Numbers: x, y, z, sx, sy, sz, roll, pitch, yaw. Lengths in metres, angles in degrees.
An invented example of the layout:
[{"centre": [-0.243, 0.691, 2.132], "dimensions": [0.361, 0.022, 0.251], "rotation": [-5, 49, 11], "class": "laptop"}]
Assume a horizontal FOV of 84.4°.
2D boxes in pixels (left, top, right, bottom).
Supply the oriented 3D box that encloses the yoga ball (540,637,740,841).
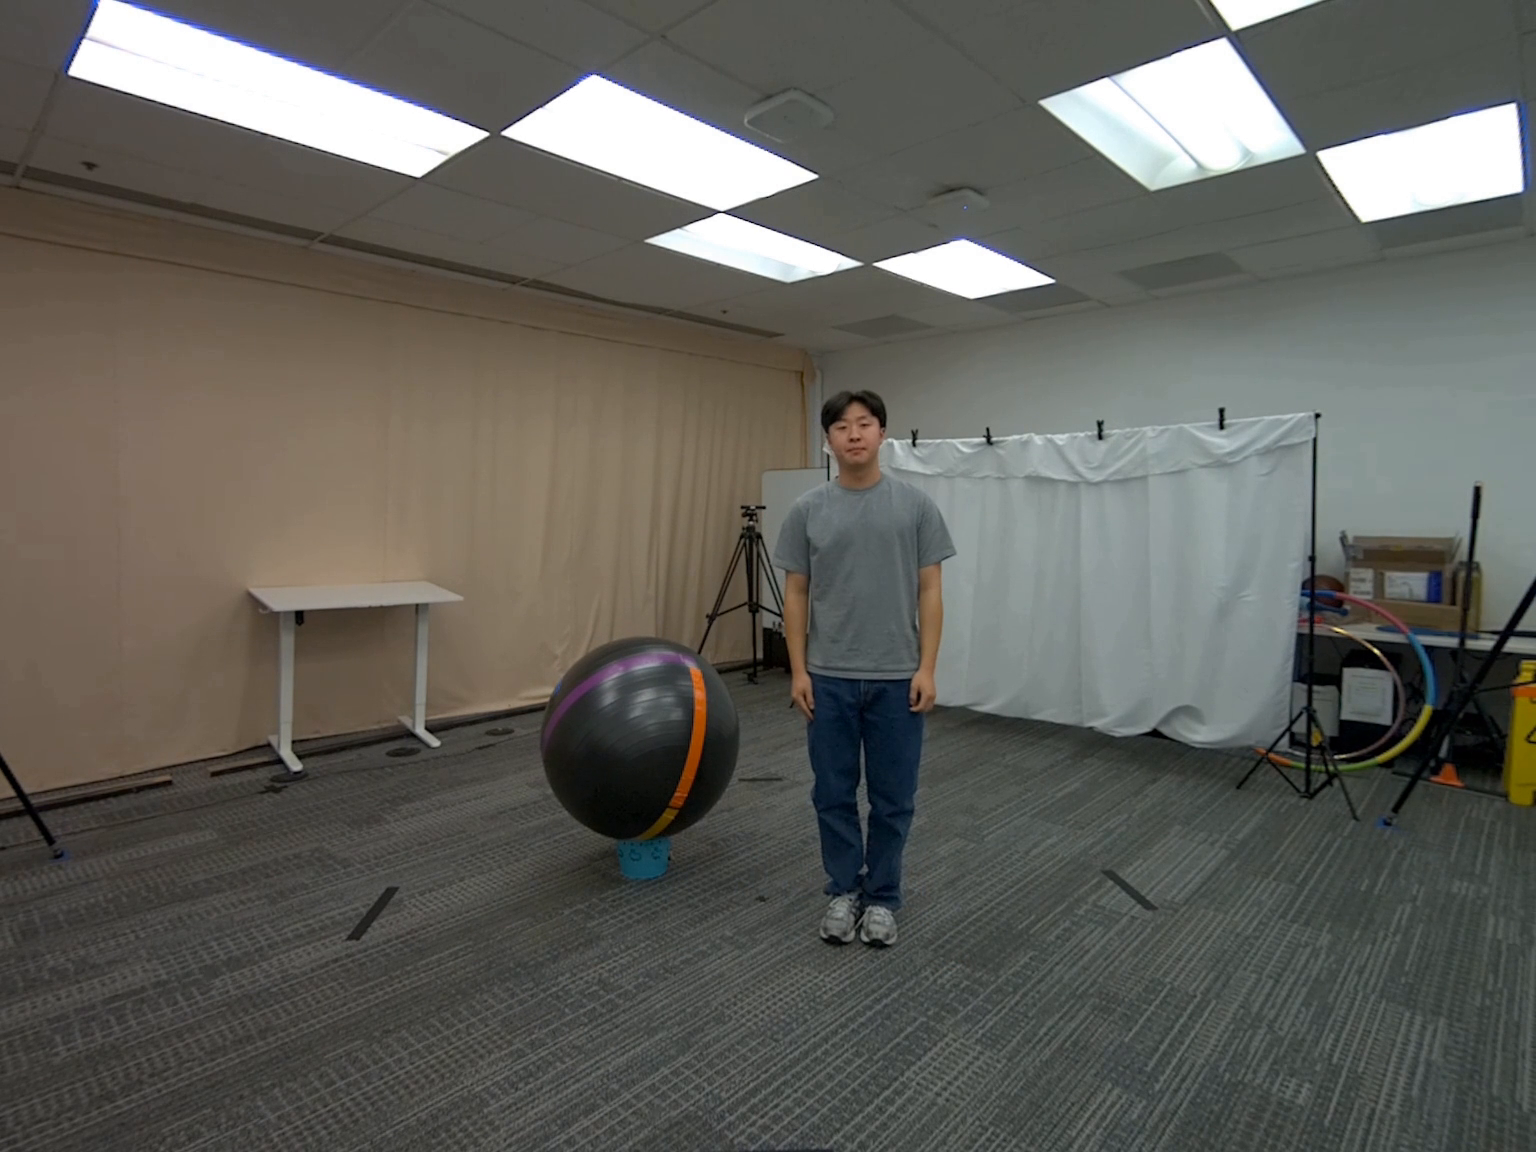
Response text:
[{"centre": [-0.486, 0.616, 3.215], "dimensions": [0.757, 0.756, 0.760], "rotation": [0, 4, -2], "class": "yoga ball"}]
